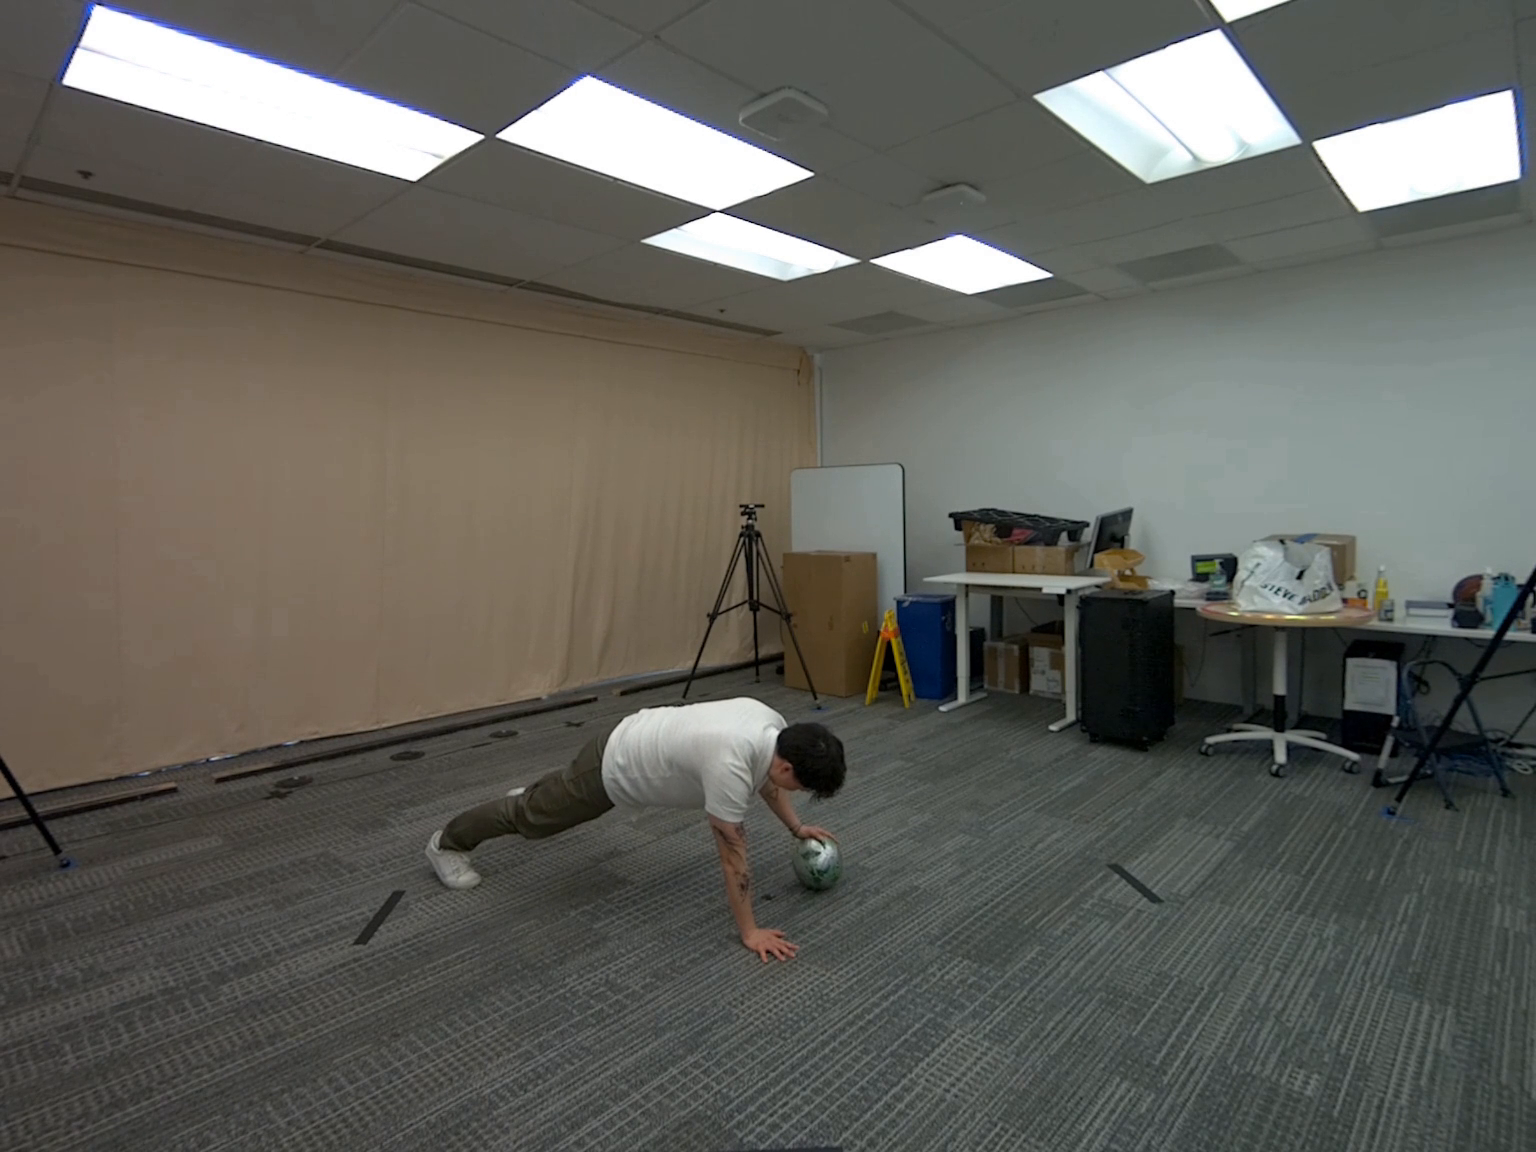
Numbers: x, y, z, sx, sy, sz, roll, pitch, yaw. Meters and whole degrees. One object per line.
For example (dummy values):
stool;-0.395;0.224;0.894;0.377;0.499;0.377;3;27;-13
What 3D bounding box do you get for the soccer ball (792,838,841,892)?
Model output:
soccer ball;0.179;1.042;3.046;0.187;0.187;0.188;-1;4;-2
